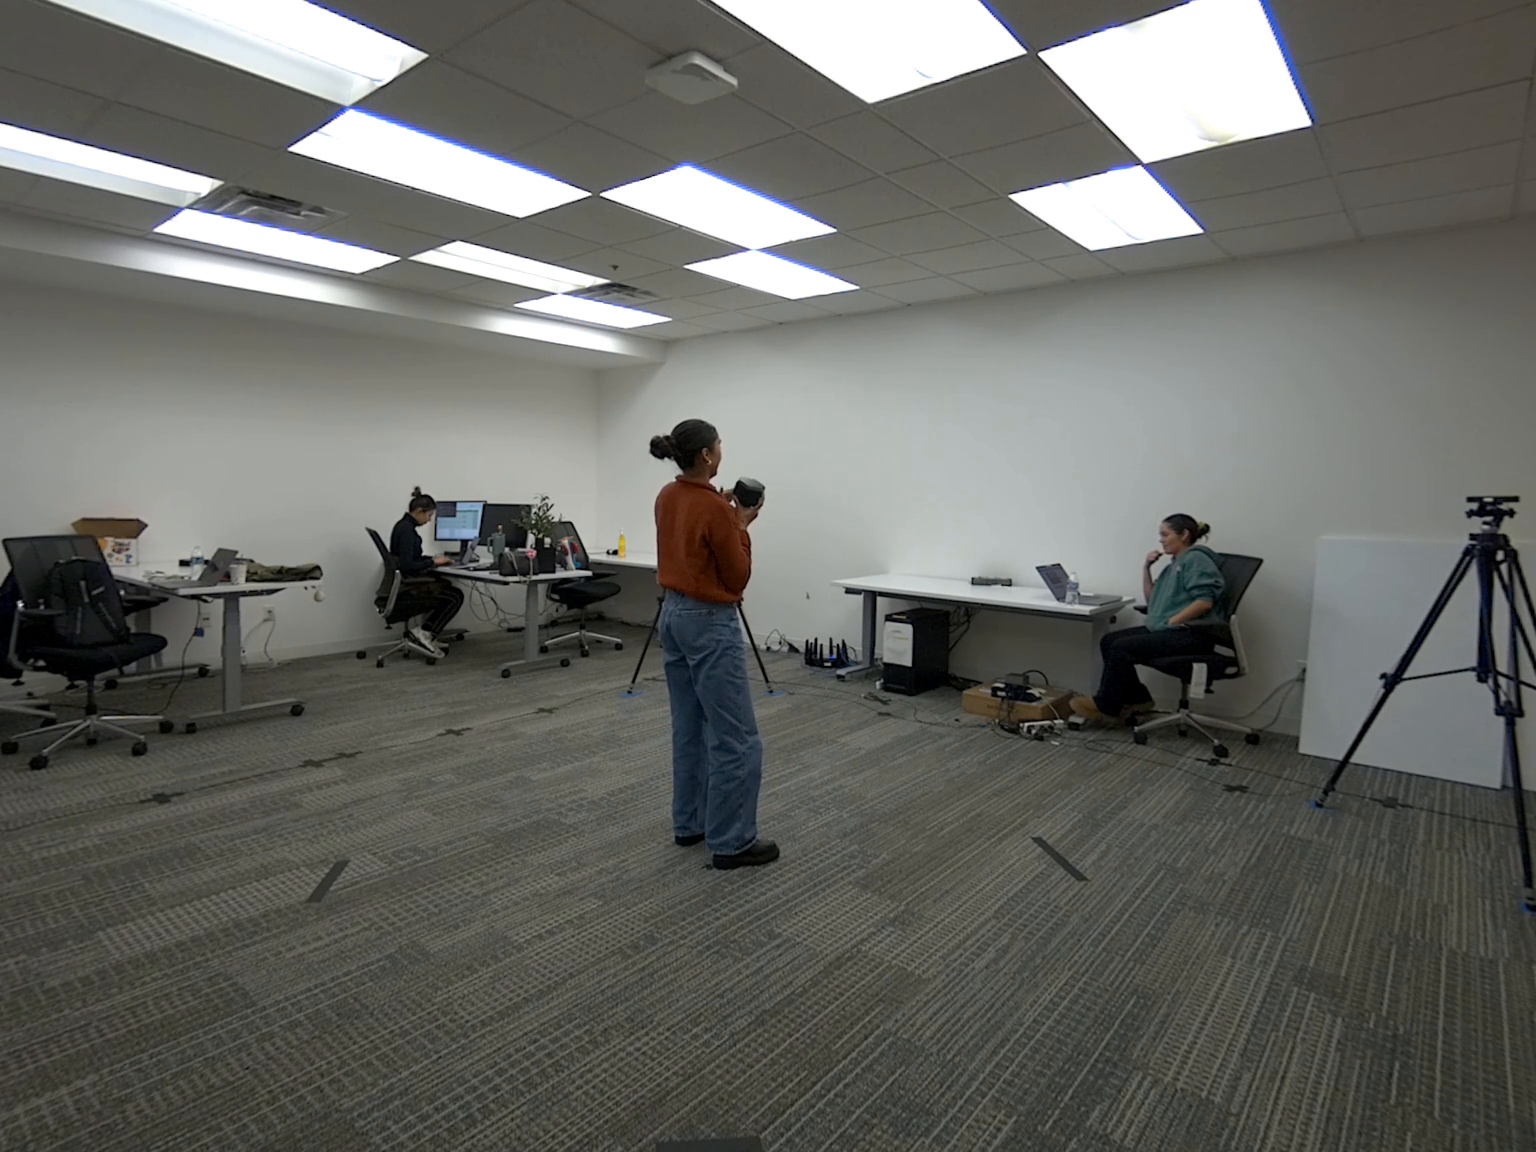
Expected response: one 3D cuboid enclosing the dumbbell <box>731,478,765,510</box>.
[{"bbox_3d":[-0.118,-0.236,3.315,0.106,0.289,0.128,-10,37,-46],"label":"dumbbell"}]
